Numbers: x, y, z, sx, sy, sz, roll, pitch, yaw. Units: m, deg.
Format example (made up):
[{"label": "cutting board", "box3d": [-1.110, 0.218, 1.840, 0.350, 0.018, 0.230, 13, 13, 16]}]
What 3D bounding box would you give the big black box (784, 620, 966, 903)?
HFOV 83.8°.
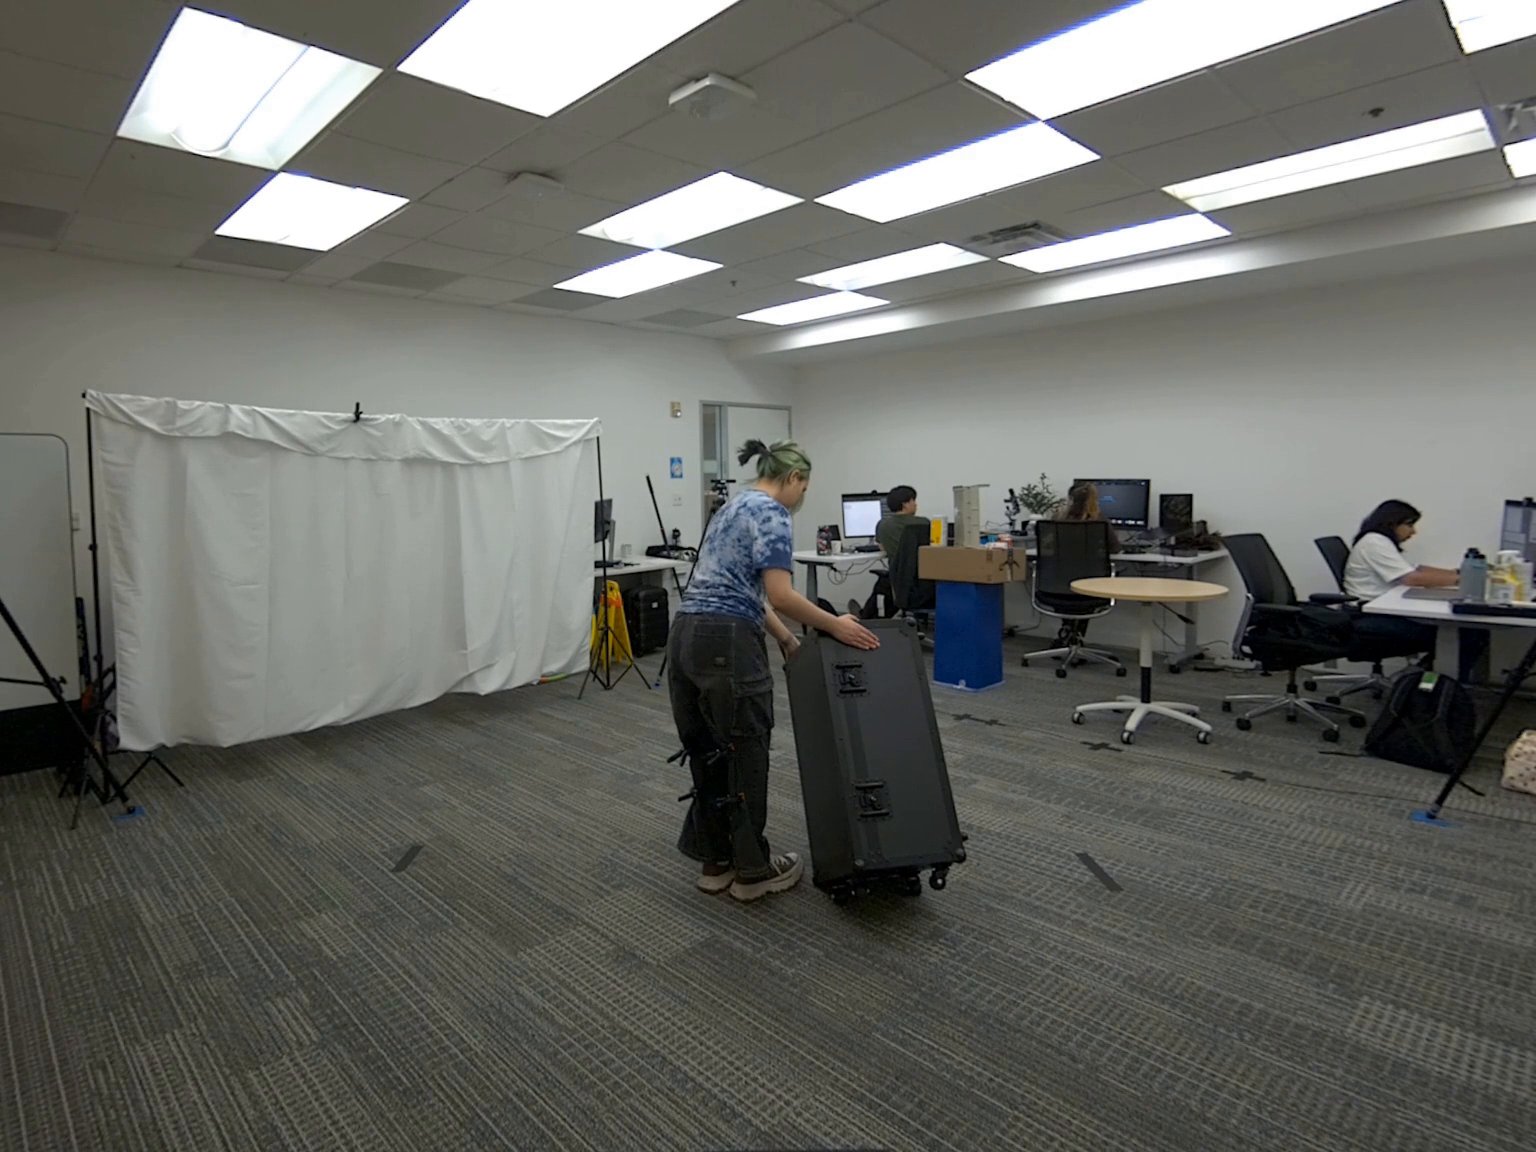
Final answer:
[{"label": "big black box", "box3d": [0.344, 0.635, 2.918, 0.392, 0.882, 0.515, 0, -26, -12]}]
